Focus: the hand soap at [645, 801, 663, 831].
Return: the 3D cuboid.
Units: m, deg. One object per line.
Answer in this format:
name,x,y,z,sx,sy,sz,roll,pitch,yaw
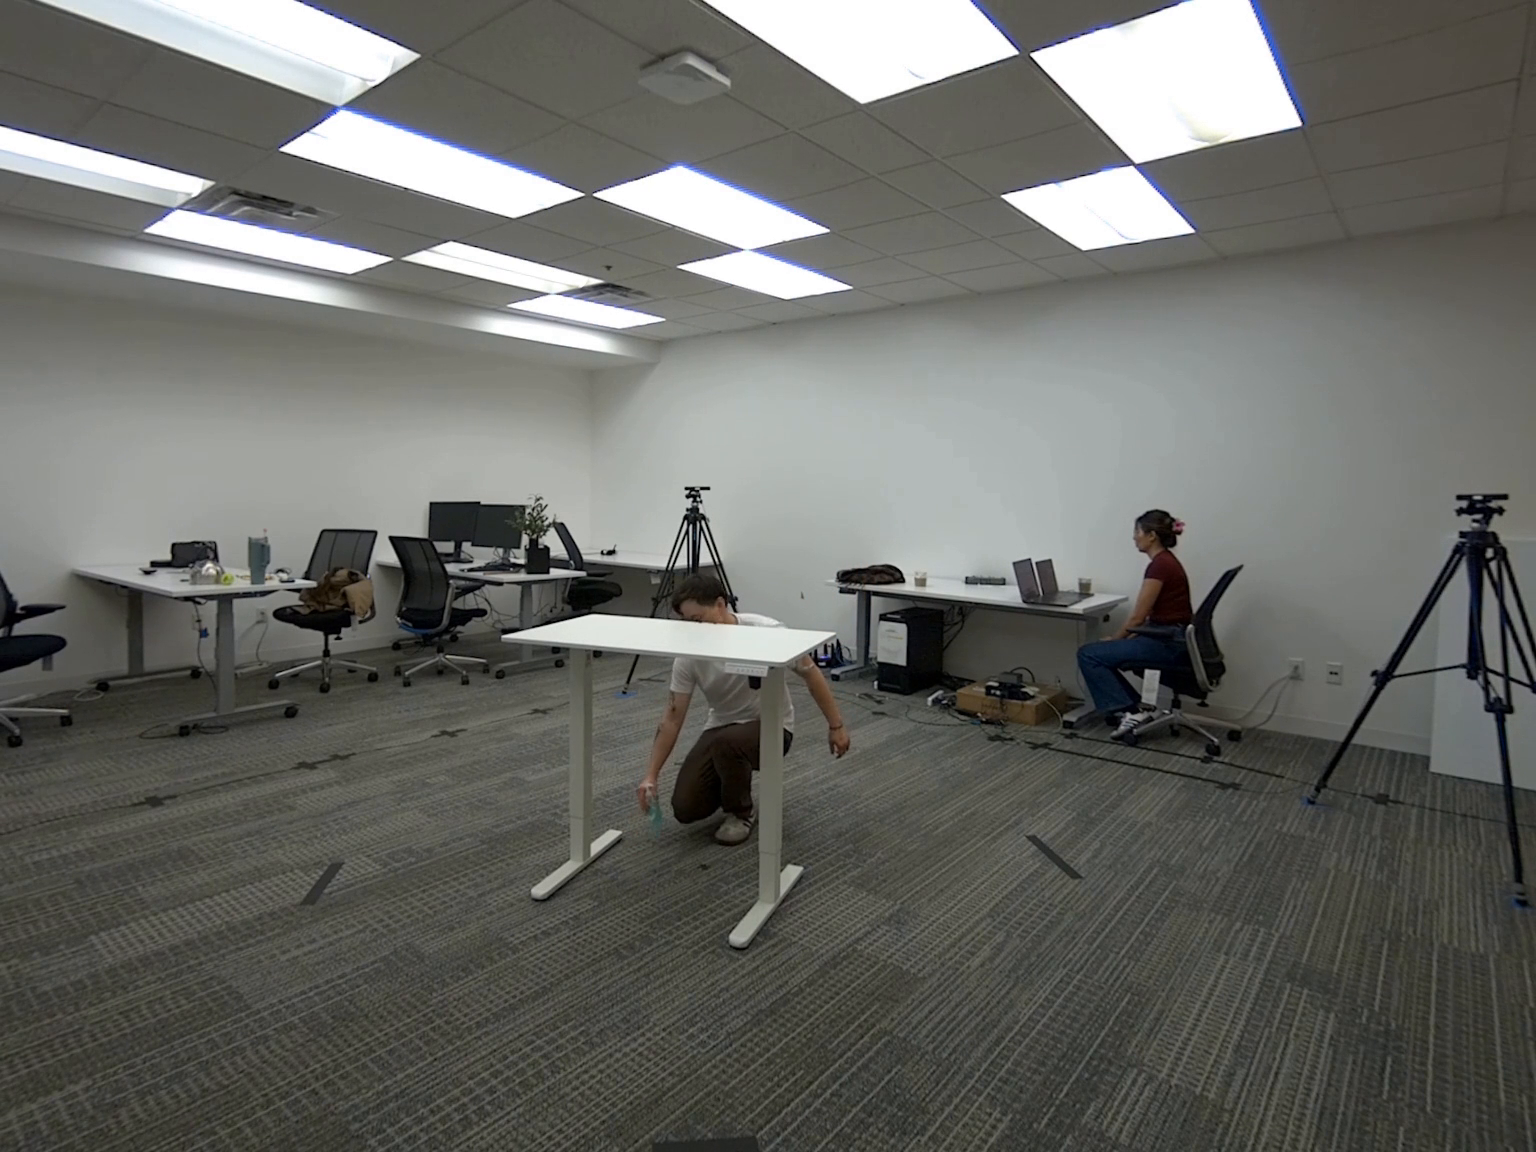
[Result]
hand soap,-0.461,0.890,3.354,0.087,0.168,0.042,-3,-2,38
